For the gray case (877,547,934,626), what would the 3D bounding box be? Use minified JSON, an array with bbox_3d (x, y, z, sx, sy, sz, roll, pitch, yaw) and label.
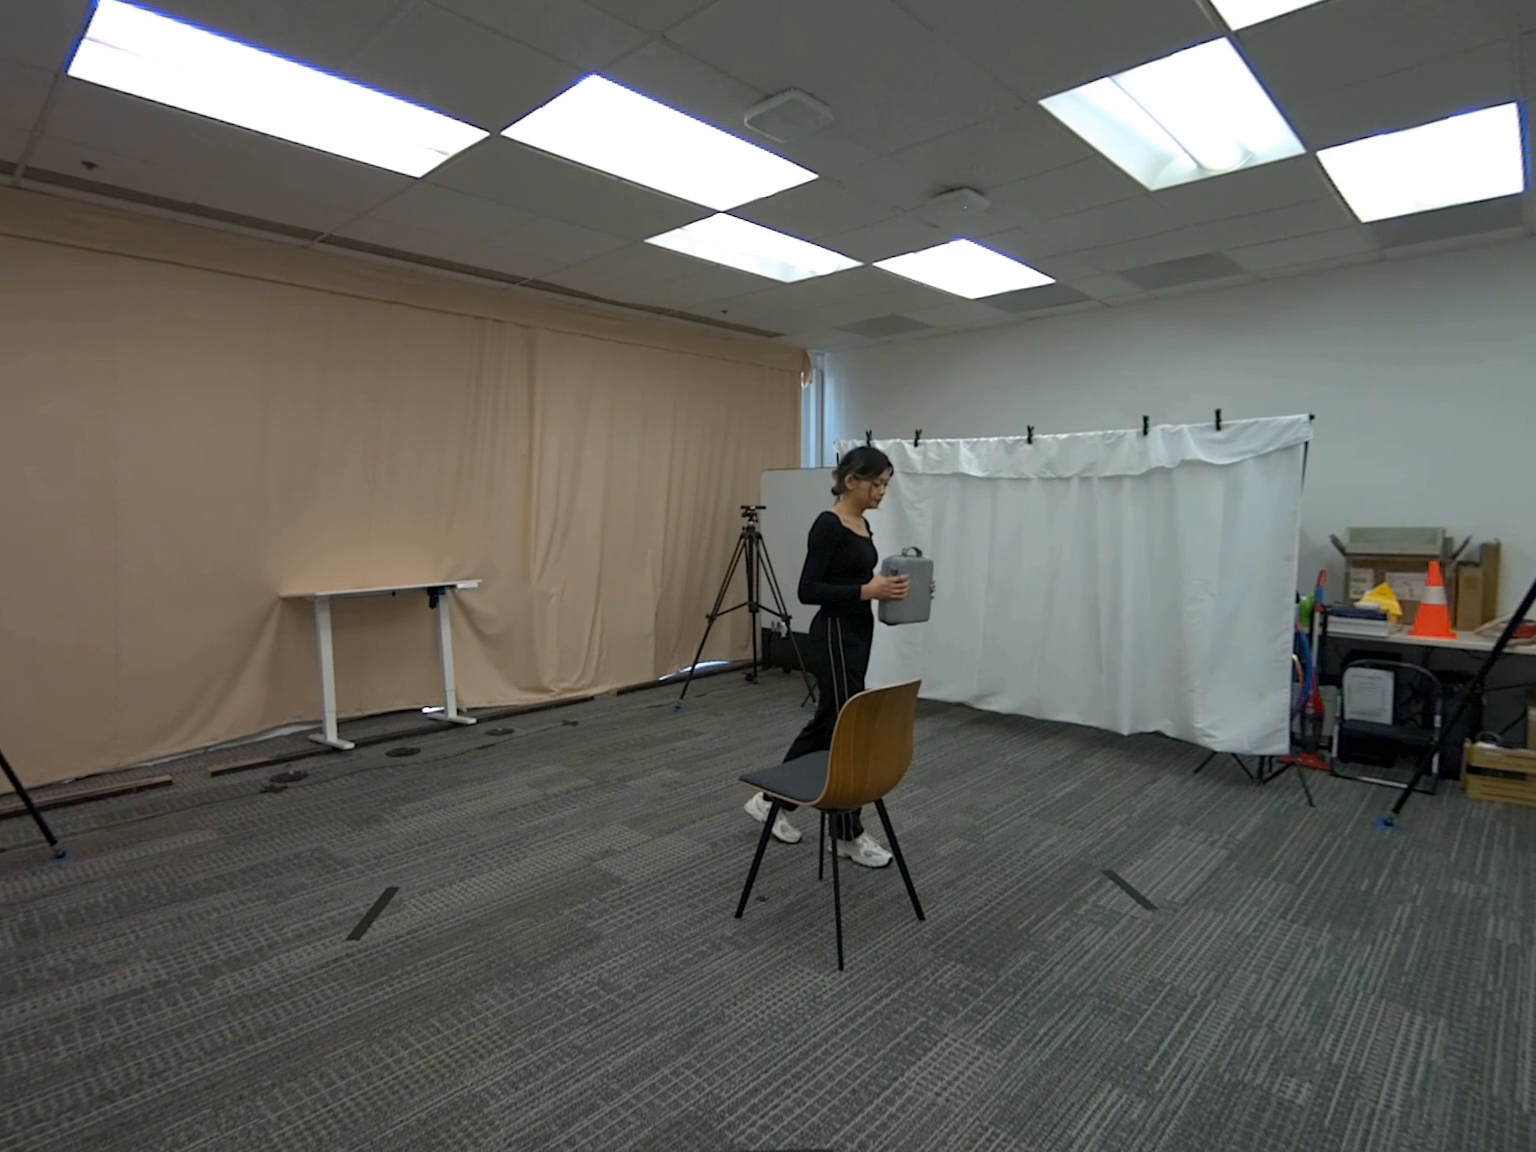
[{"bbox_3d":[0.527,0.049,3.183,0.108,0.260,0.249,7,5,43],"label":"gray case"}]
